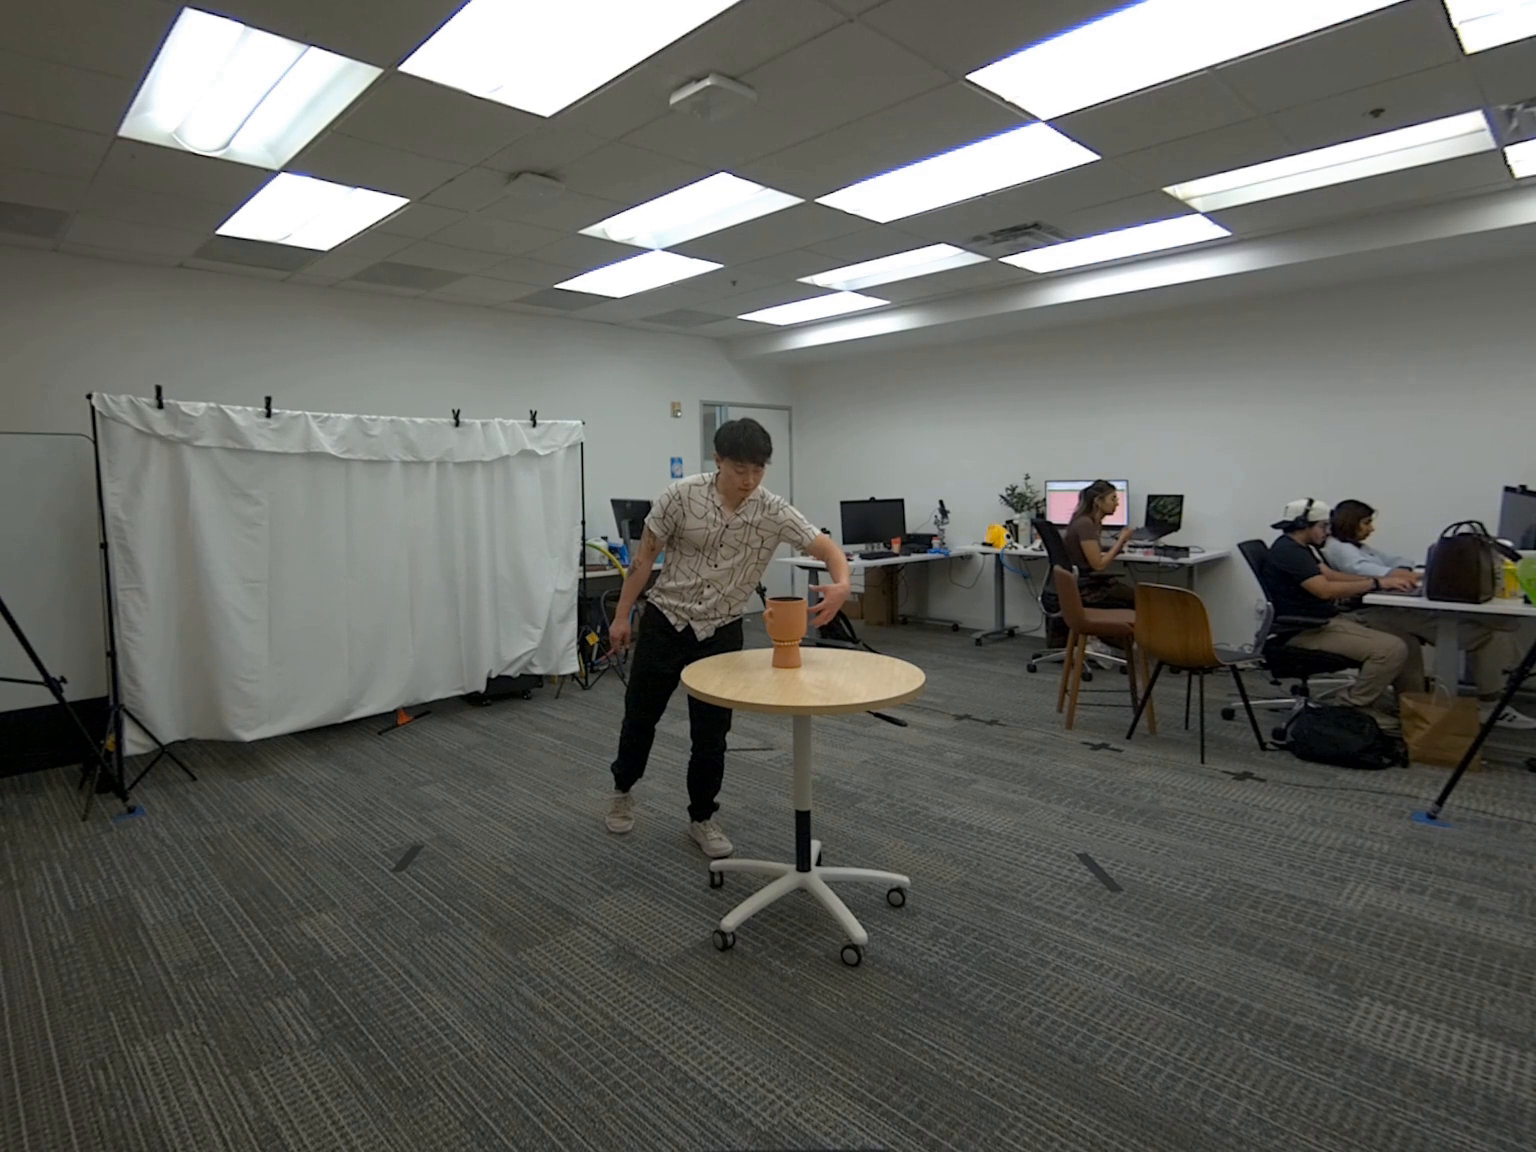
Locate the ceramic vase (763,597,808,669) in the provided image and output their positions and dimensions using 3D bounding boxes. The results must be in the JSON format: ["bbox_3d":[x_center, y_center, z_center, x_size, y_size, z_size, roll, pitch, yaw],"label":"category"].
[{"bbox_3d":[0.064,0.184,2.805,0.158,0.219,0.135,0,3,-3],"label":"ceramic vase"}]
